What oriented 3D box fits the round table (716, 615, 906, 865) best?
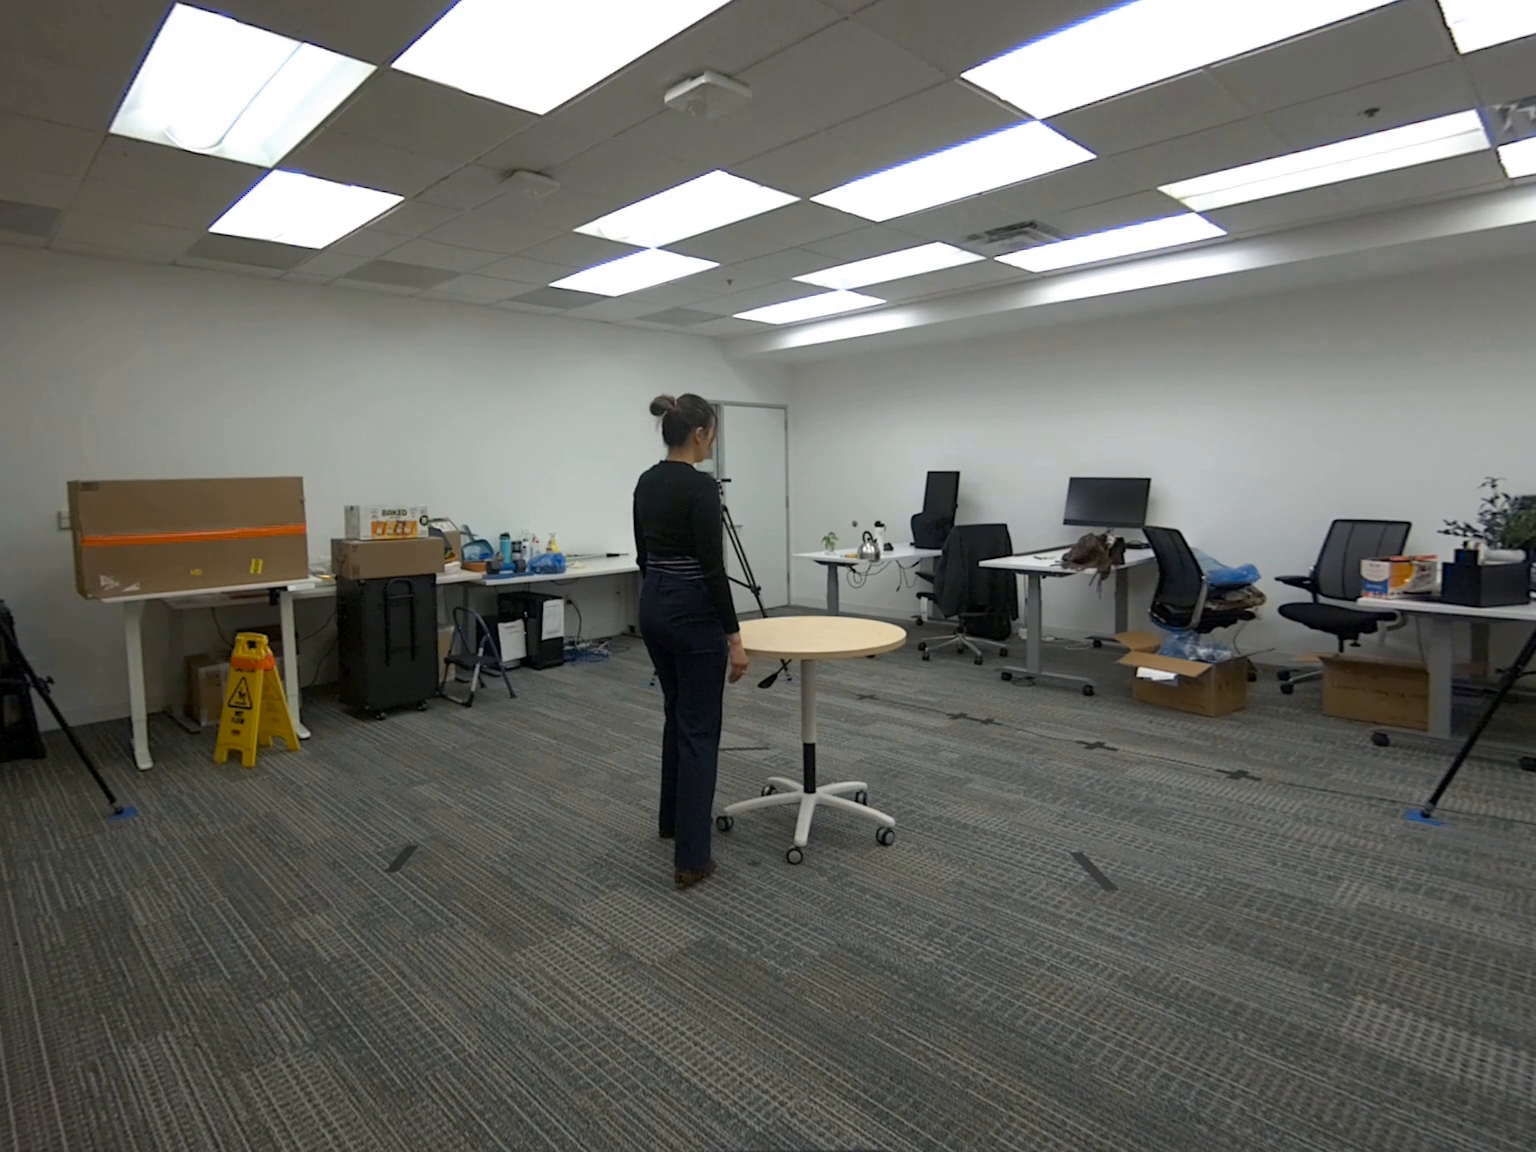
[{"bbox_3d":[0.168,0.617,3.412,0.763,0.791,0.768,-1,5,-2],"label":"round table"}]
